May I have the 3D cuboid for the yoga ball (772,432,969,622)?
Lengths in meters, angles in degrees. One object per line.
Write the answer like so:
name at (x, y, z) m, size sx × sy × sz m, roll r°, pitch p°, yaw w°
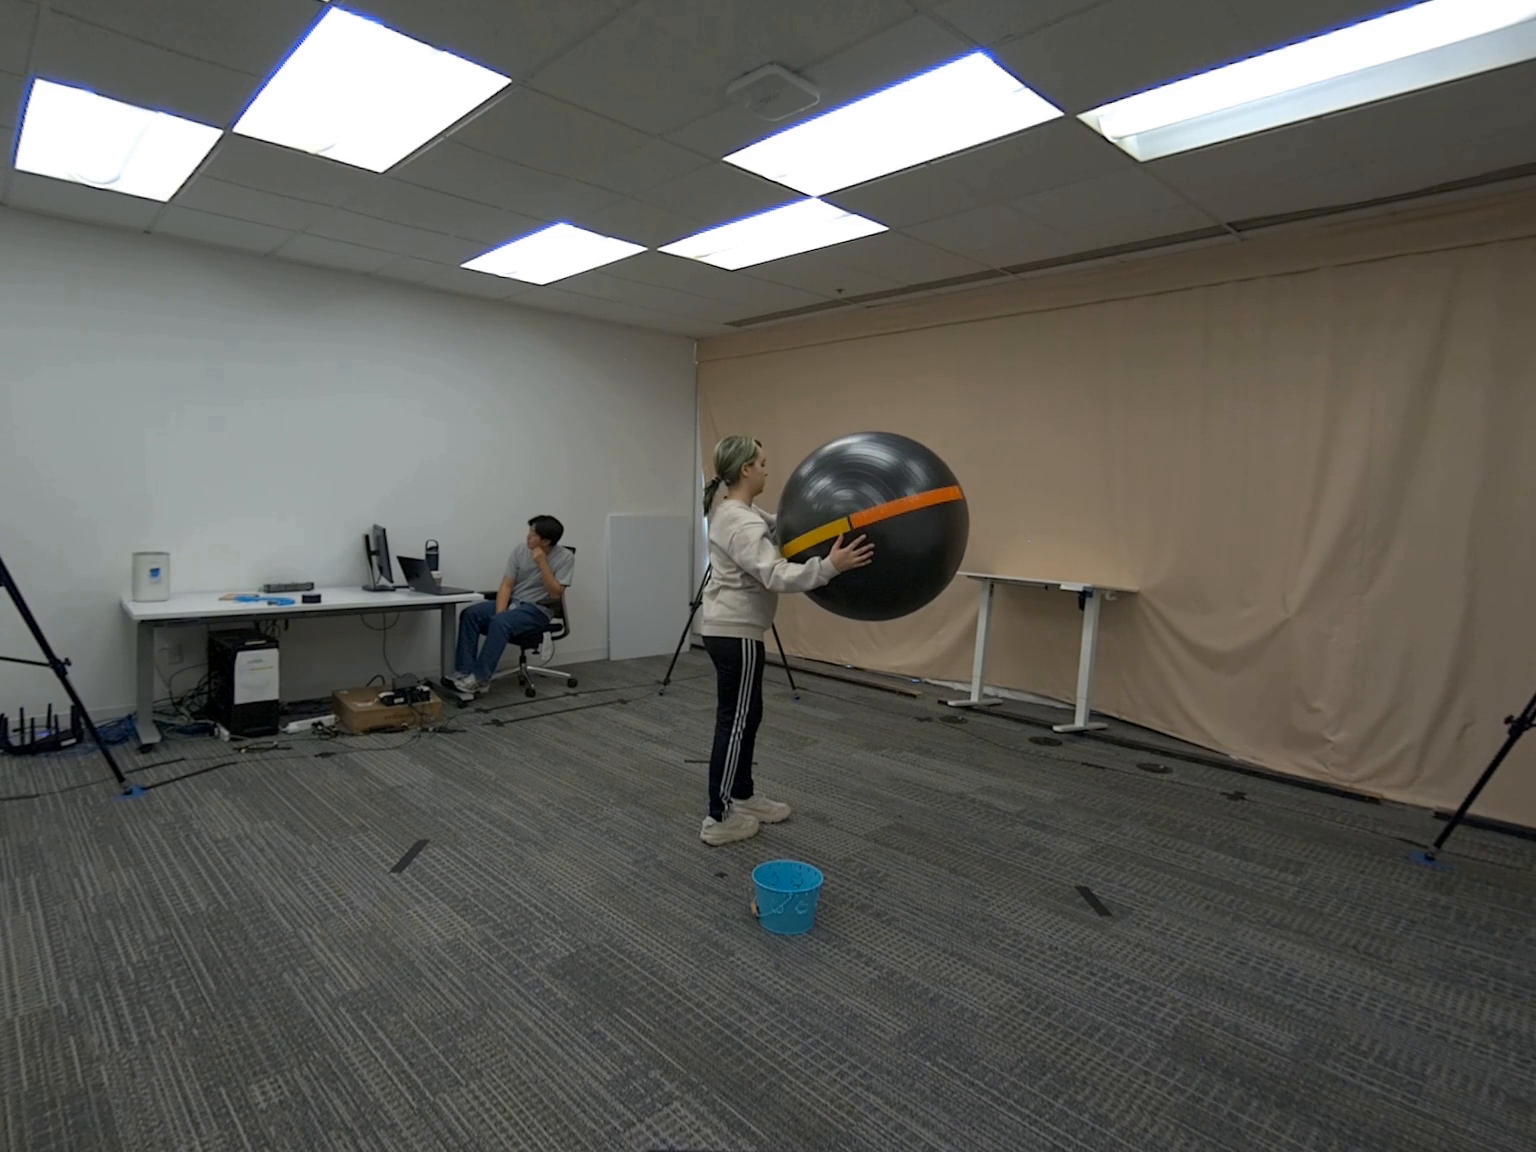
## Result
yoga ball at (0.411, -0.193, 3.375) m, size 0.757 × 0.756 × 0.761 m, roll 1°, pitch 4°, yaw -1°
